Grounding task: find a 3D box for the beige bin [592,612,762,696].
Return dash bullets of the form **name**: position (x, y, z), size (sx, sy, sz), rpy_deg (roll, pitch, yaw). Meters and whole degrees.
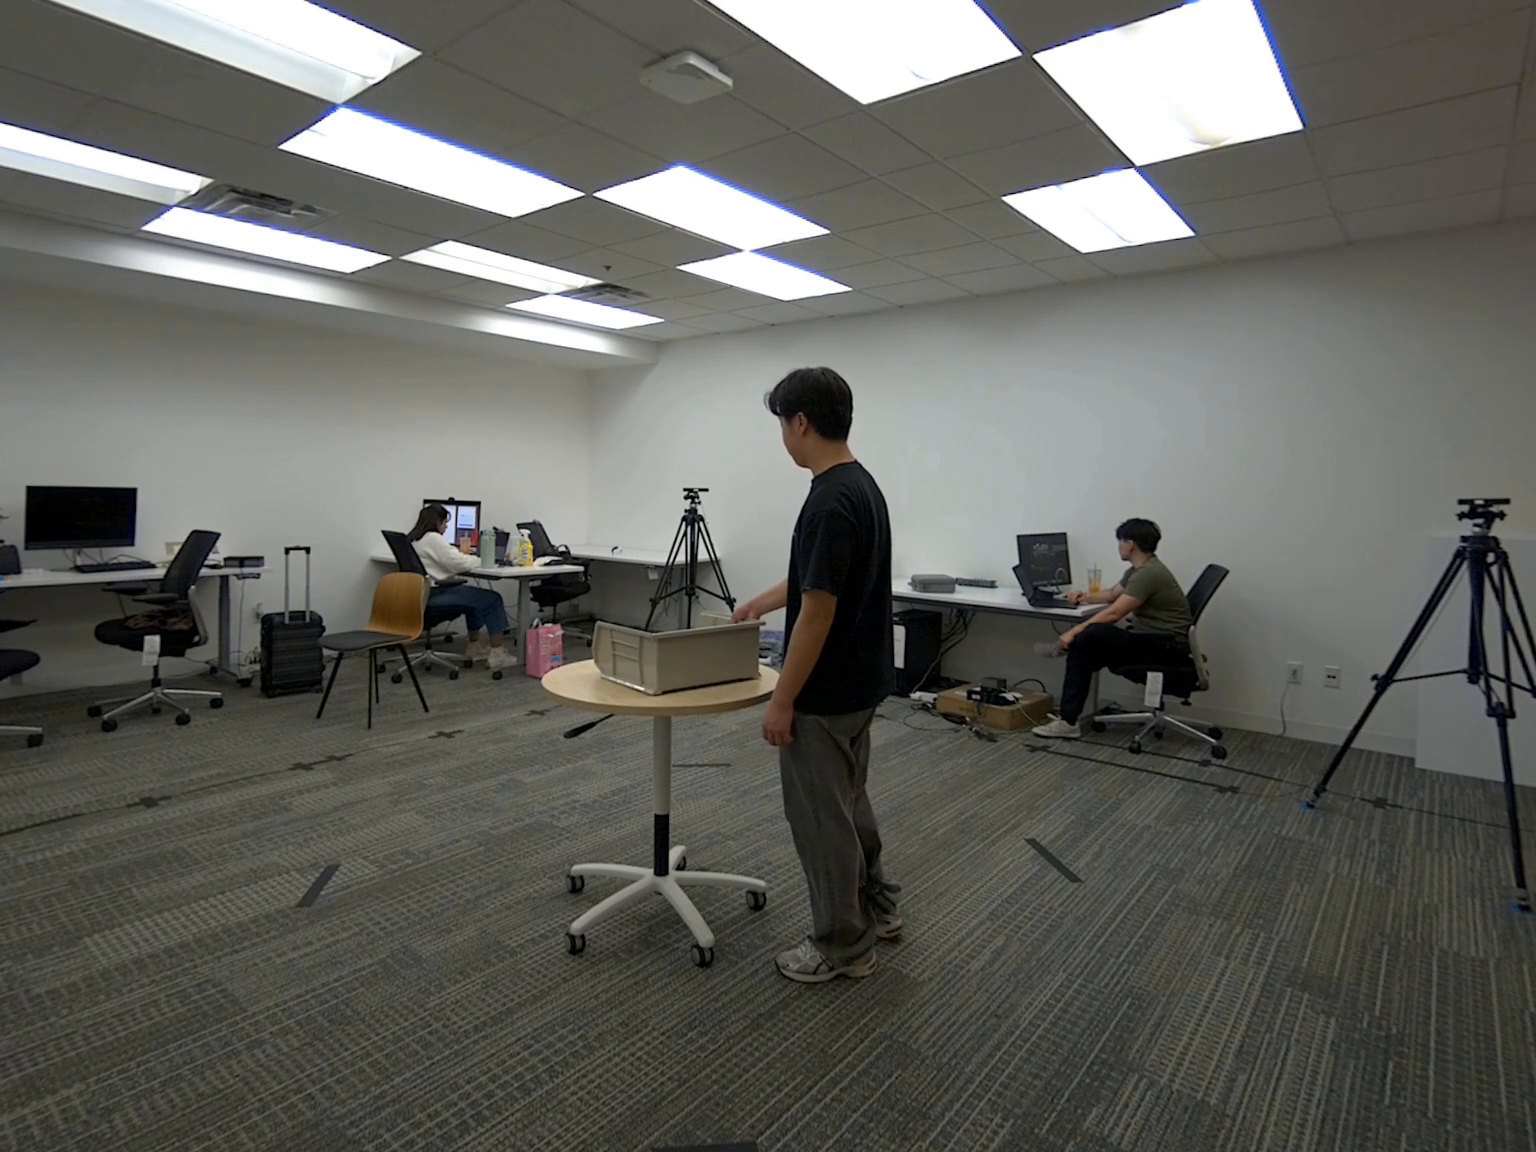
- **beige bin**: position (-0.294, 0.225, 2.713), size (0.410, 0.188, 0.390), rpy_deg (-3, 6, -39)
